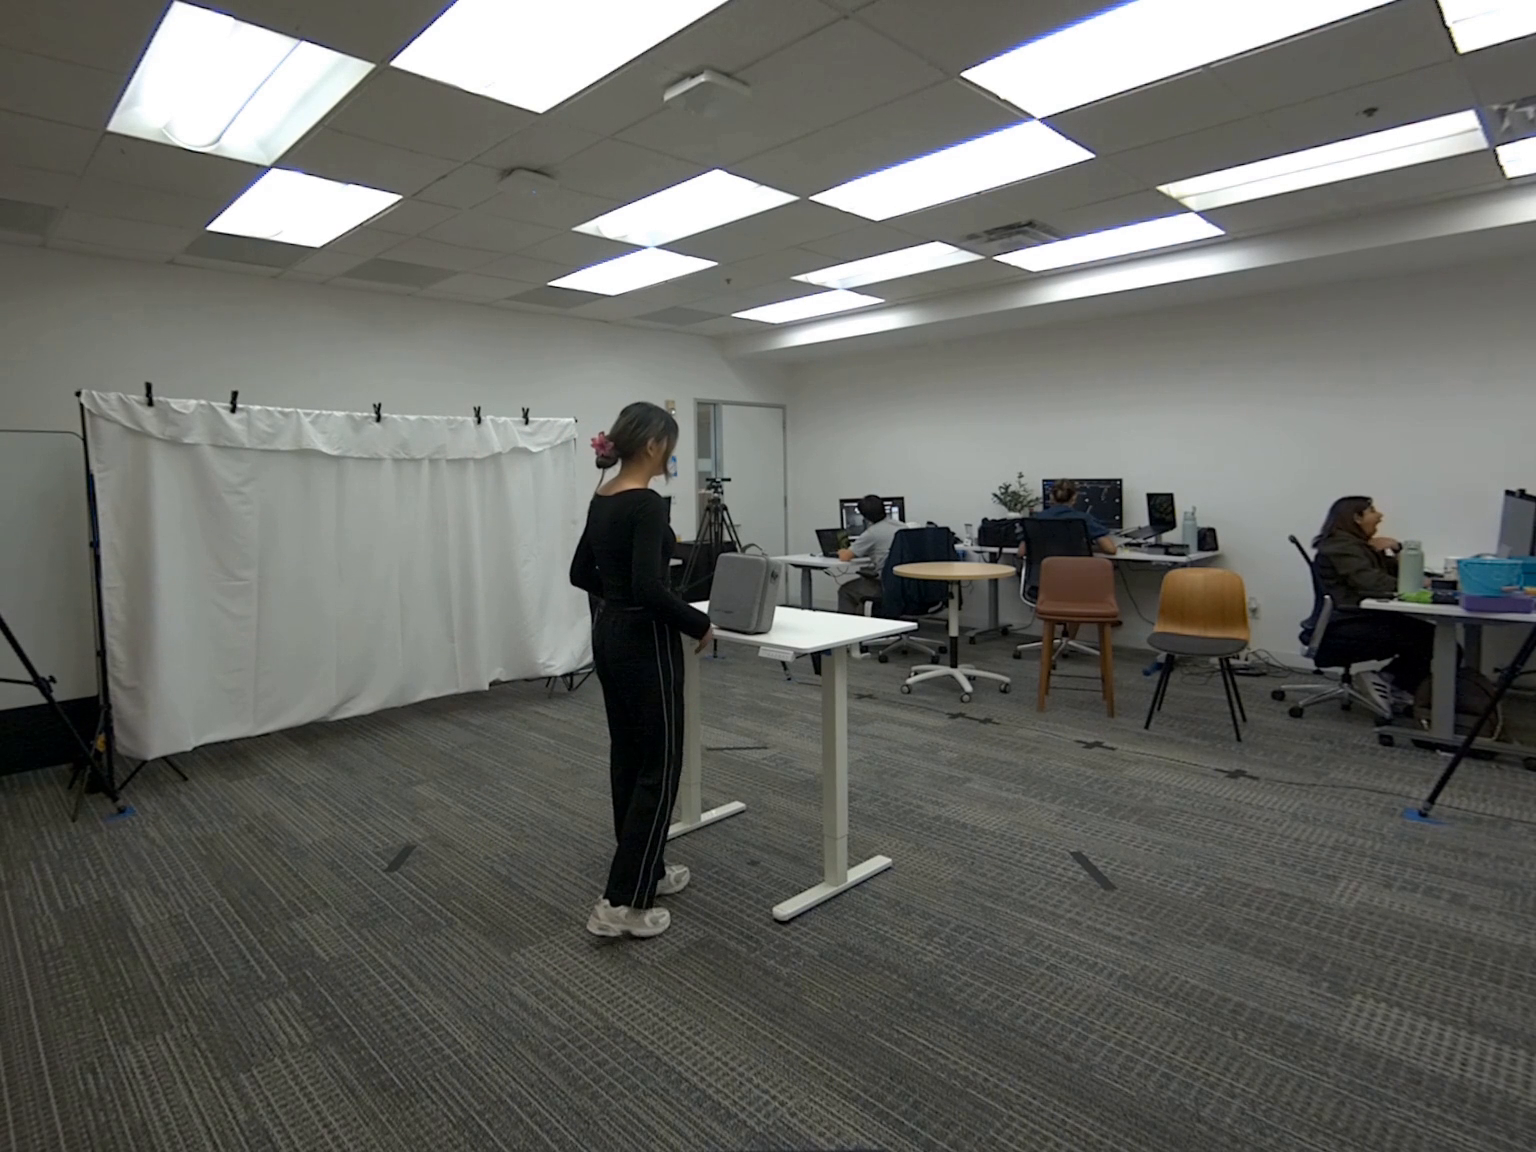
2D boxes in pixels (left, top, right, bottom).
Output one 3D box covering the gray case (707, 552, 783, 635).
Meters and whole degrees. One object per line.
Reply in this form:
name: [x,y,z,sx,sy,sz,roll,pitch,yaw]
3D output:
gray case: [-0.084,0.052,2.882,0.101,0.261,0.264,12,-4,-35]
